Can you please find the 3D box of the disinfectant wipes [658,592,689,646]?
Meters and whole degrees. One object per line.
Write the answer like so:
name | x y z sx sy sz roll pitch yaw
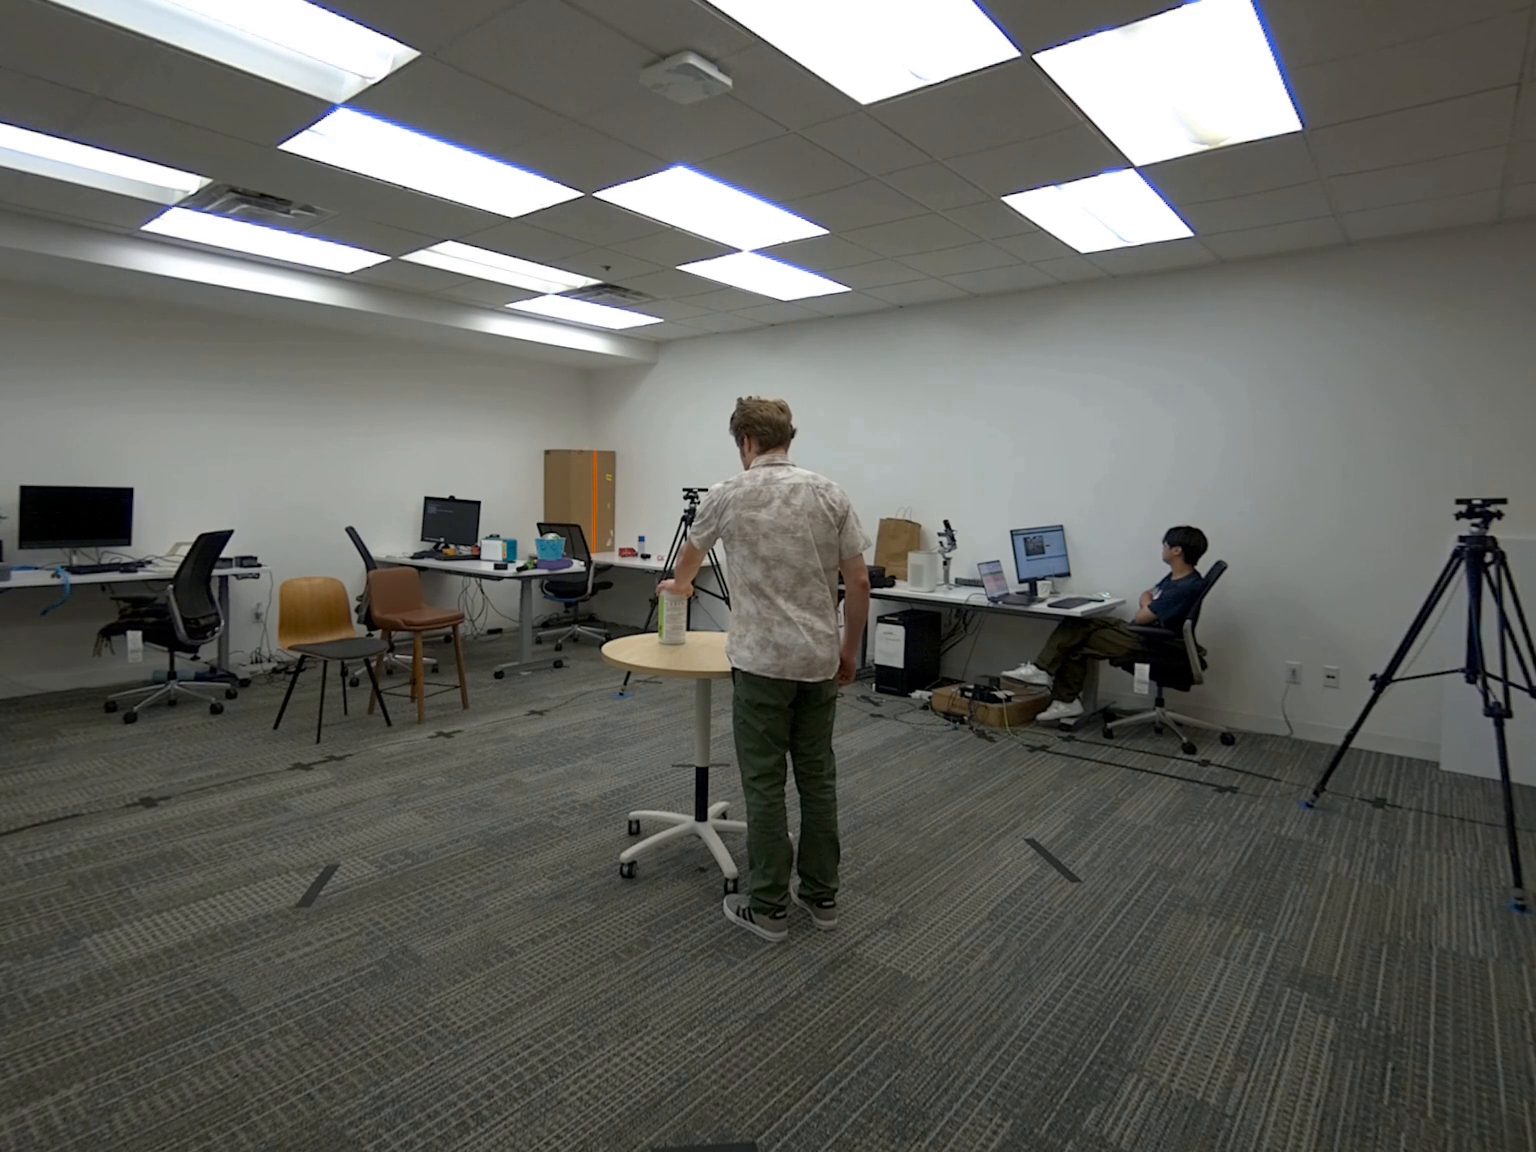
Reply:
disinfectant wipes | -0.379 0.151 3.303 0.118 0.217 0.118 0 4 -2
